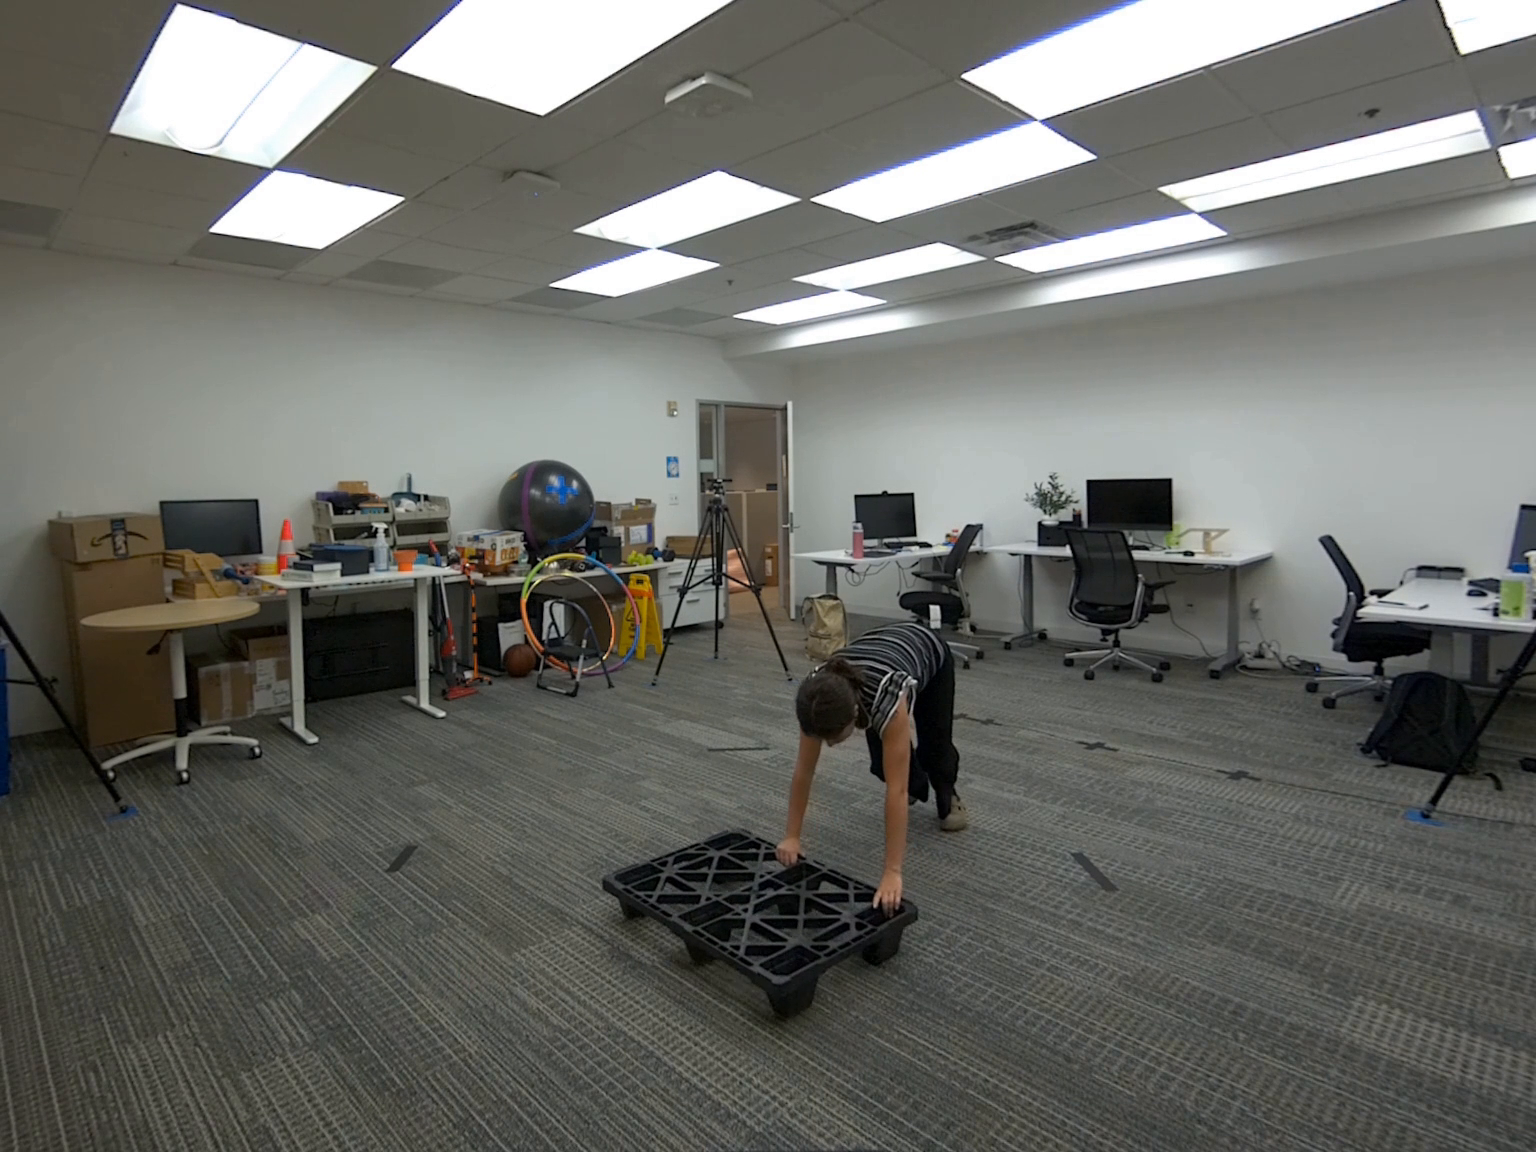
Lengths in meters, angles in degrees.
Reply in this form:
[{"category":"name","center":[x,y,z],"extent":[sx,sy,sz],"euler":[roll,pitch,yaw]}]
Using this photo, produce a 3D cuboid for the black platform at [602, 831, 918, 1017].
[{"category":"black platform","center":[-0.040,1.031,2.617],"extent":[0.589,0.143,0.831],"euler":[-7,8,-43]}]
